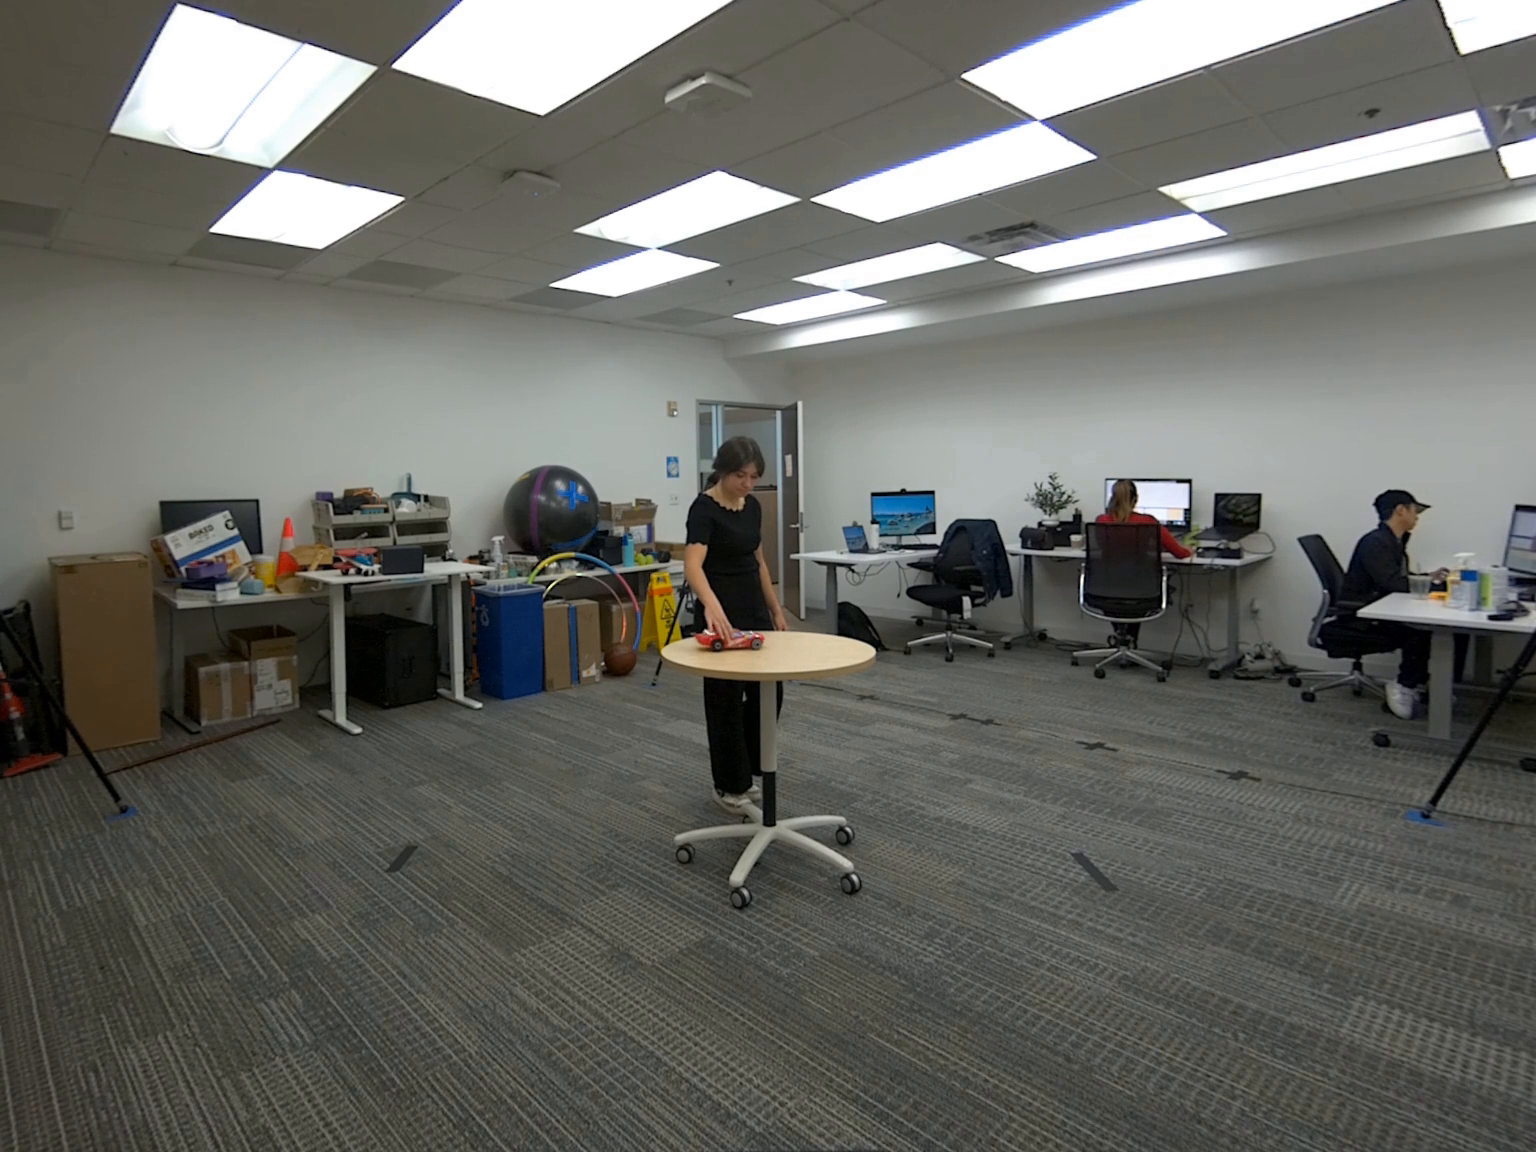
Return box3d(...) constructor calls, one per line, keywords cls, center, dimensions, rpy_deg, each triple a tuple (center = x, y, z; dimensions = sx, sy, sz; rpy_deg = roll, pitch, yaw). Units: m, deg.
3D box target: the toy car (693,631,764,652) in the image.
box3d(cls="toy car", center=(-0.146, 0.236, 3.088), dimensions=(0.251, 0.083, 0.132), rpy_deg=(9, 2, -14))
